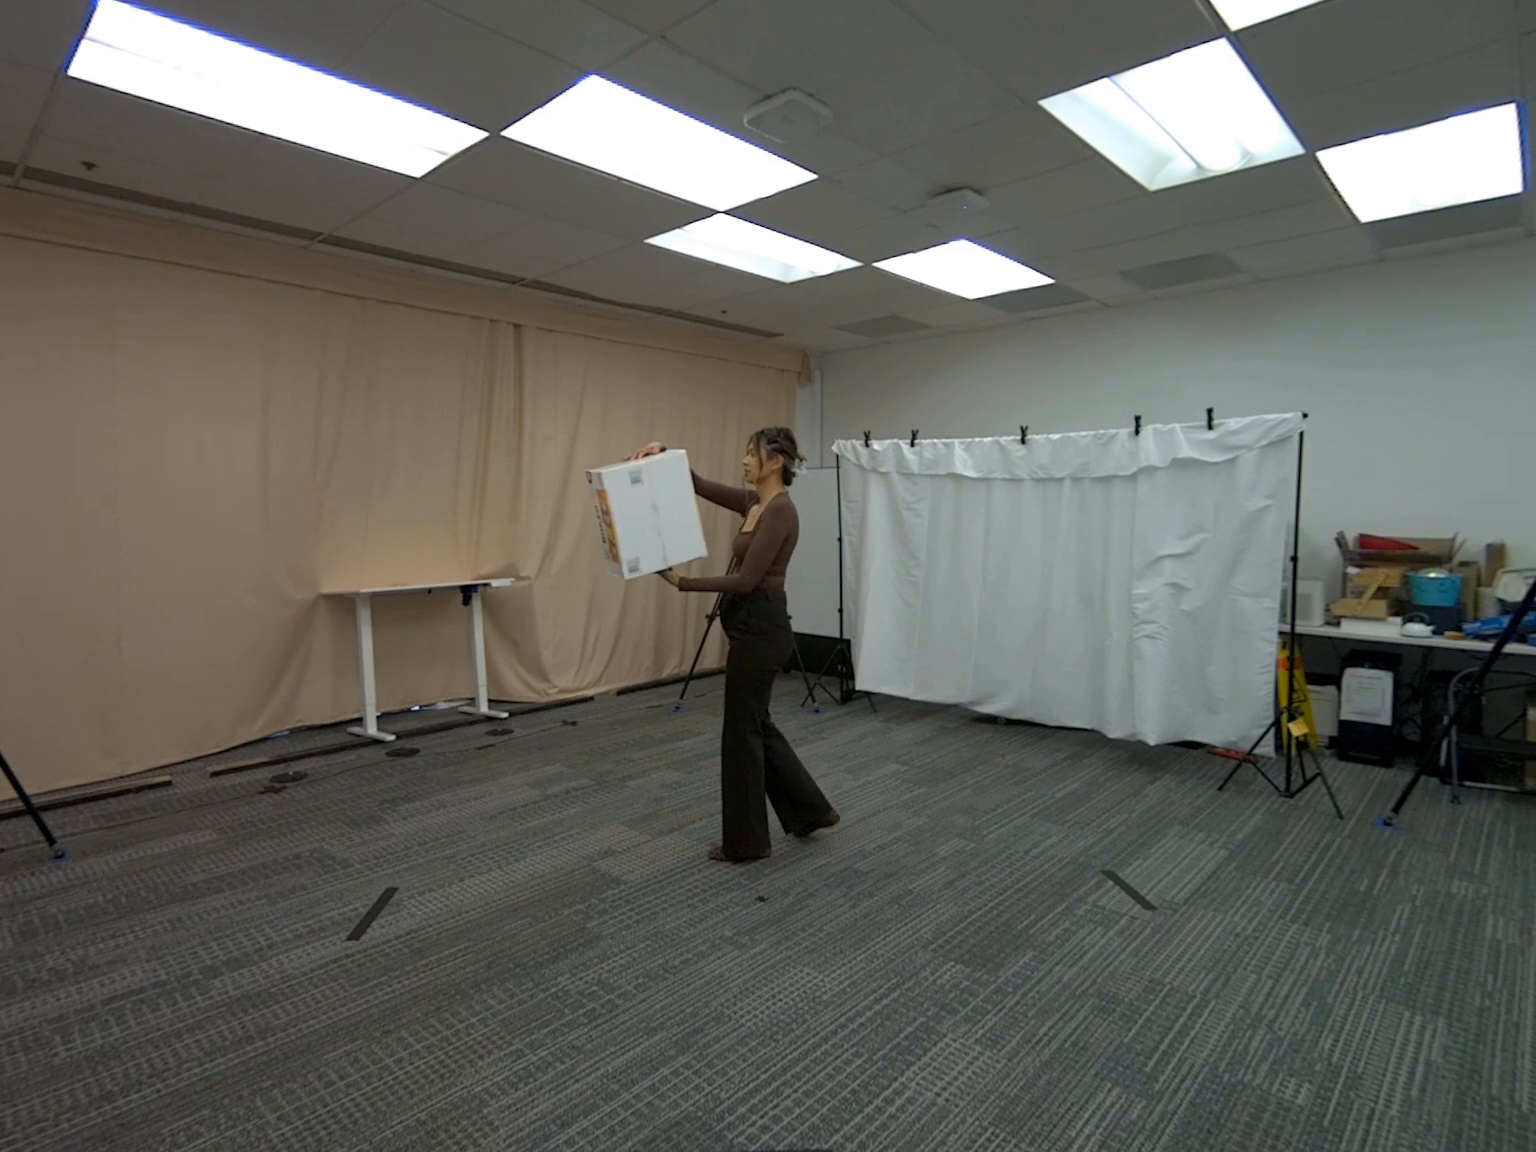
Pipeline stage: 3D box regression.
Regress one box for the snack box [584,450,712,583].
[{"bbox_3d":[-0.446,-0.232,3.141,0.334,0.401,0.211,-17,13,-23],"label":"snack box"}]
